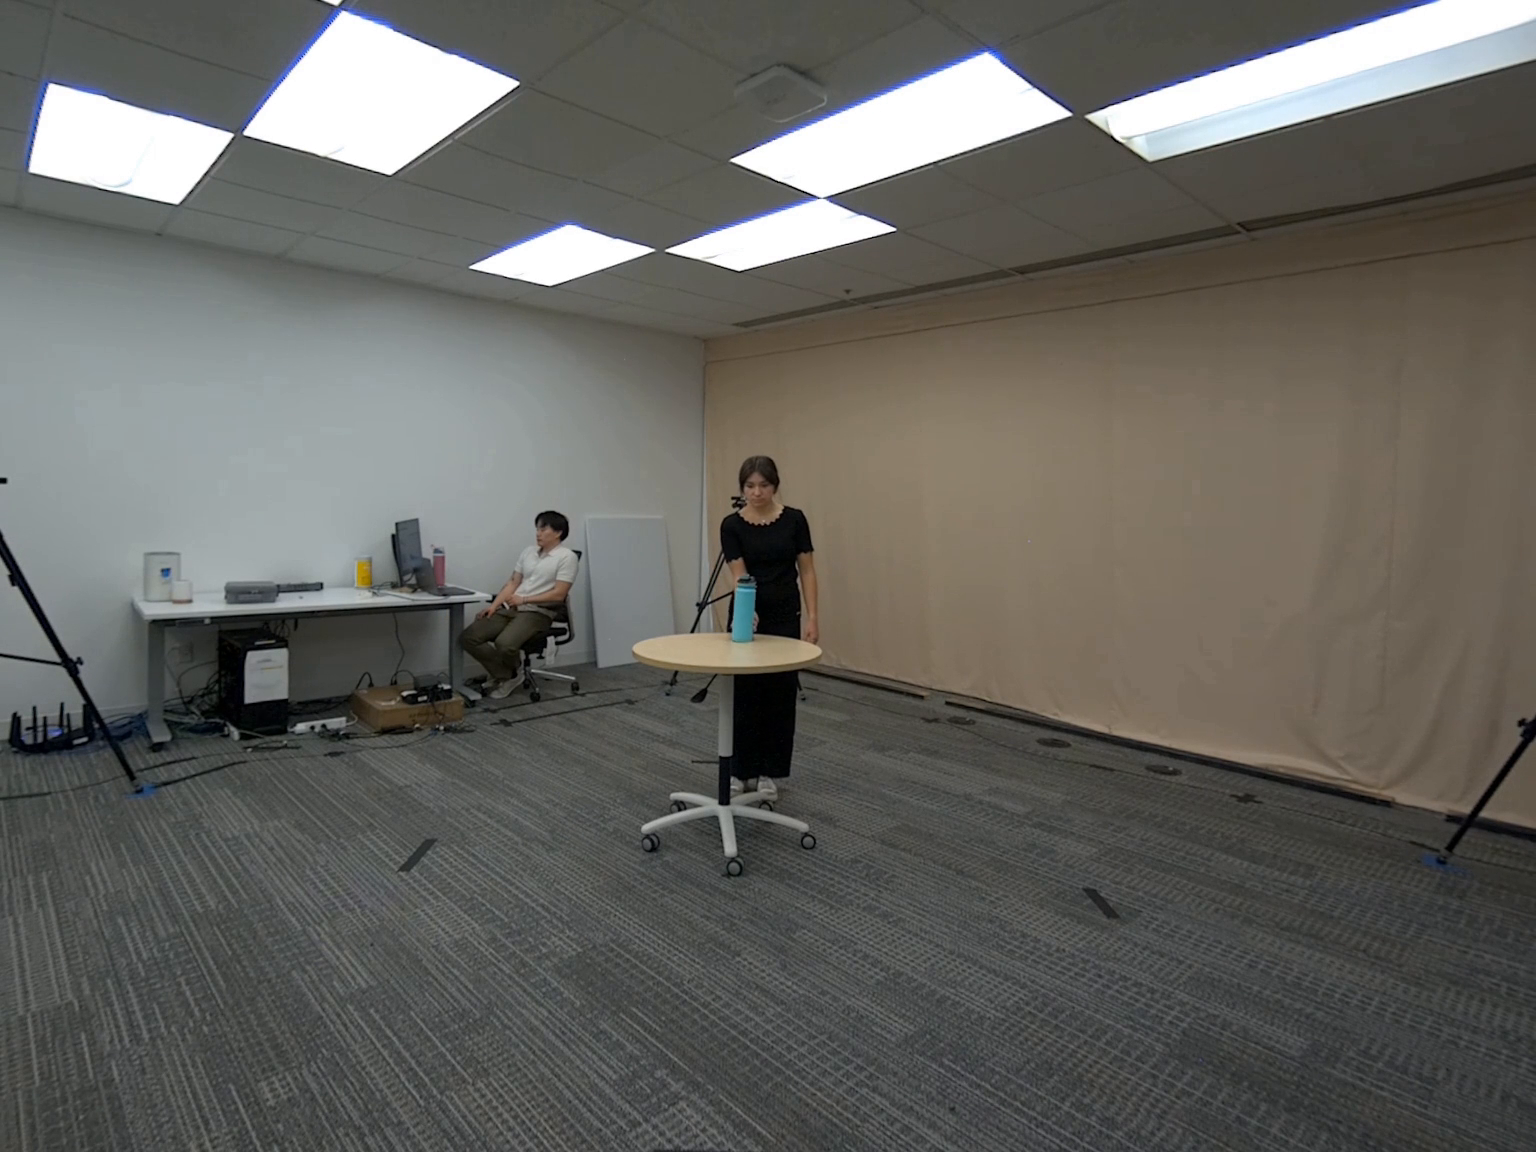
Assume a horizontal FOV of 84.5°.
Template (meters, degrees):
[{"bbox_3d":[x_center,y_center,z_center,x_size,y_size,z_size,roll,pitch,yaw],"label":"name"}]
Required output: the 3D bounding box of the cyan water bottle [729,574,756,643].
[{"bbox_3d":[-0.113,0.131,3.596,0.092,0.283,0.092,6,2,-2],"label":"cyan water bottle"}]
